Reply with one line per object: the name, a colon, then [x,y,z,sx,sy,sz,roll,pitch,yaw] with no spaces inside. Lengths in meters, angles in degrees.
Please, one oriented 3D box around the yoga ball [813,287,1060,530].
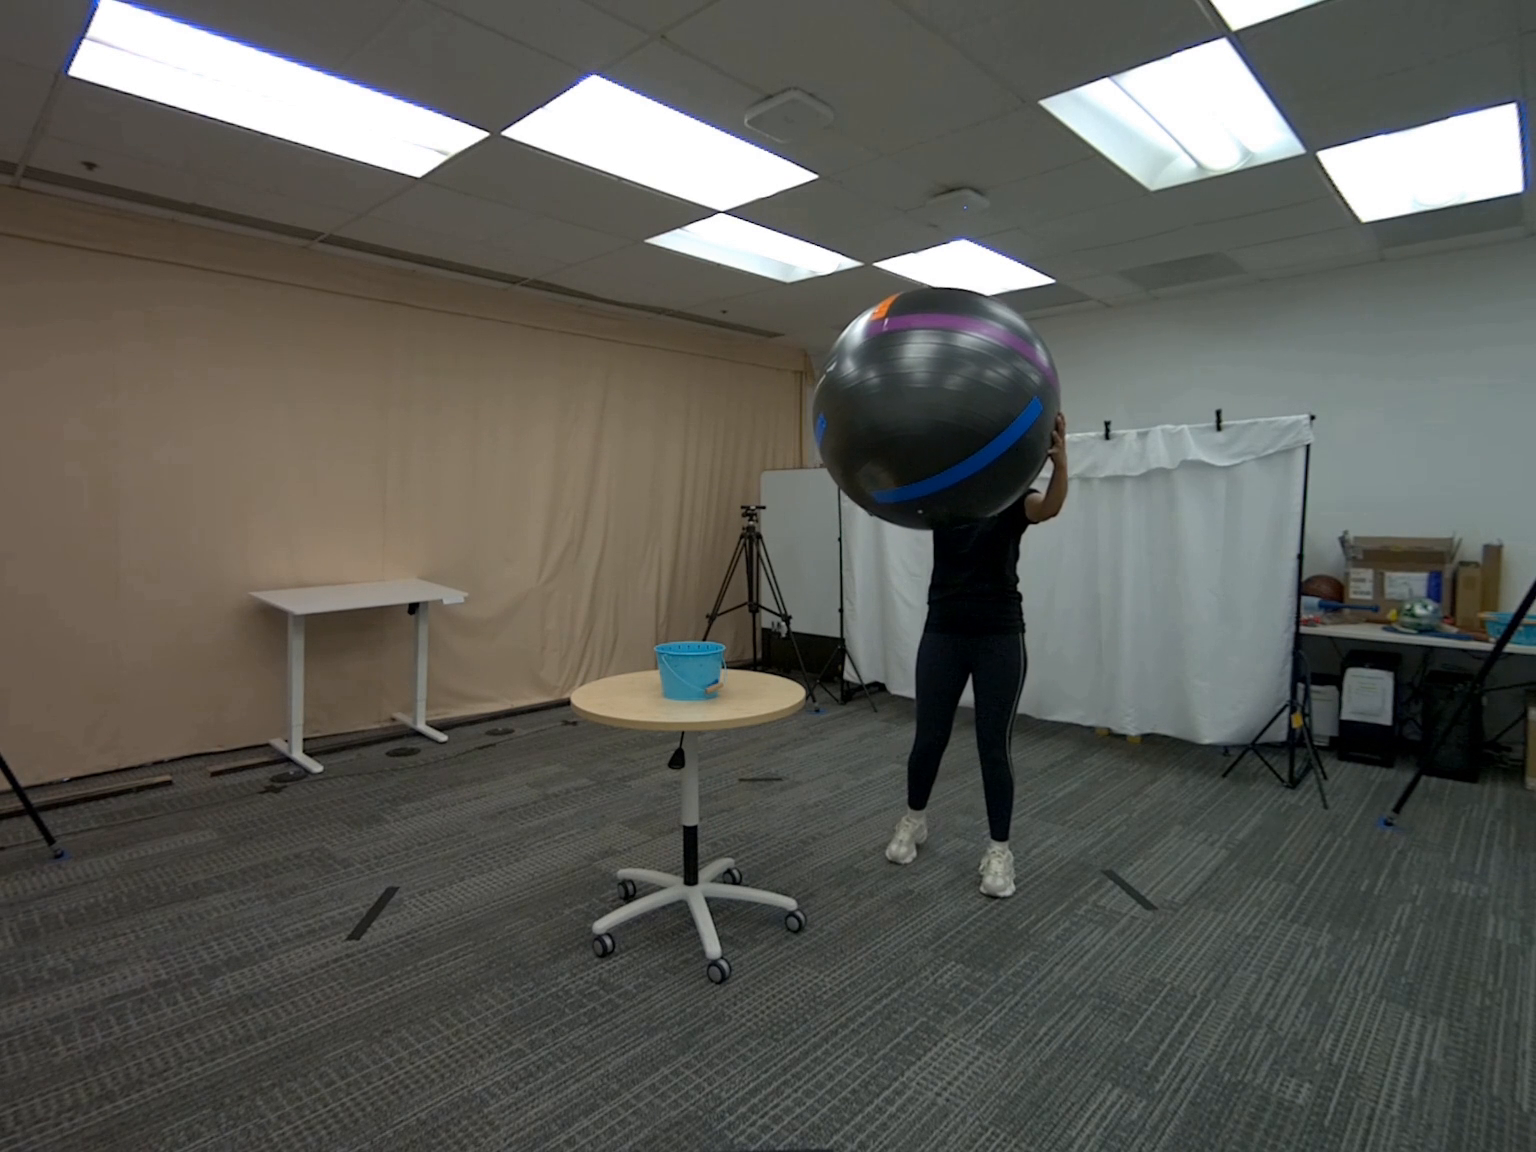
yoga ball: [0.520,-0.515,2.665,0.757,0.756,0.761,0,4,-2]
